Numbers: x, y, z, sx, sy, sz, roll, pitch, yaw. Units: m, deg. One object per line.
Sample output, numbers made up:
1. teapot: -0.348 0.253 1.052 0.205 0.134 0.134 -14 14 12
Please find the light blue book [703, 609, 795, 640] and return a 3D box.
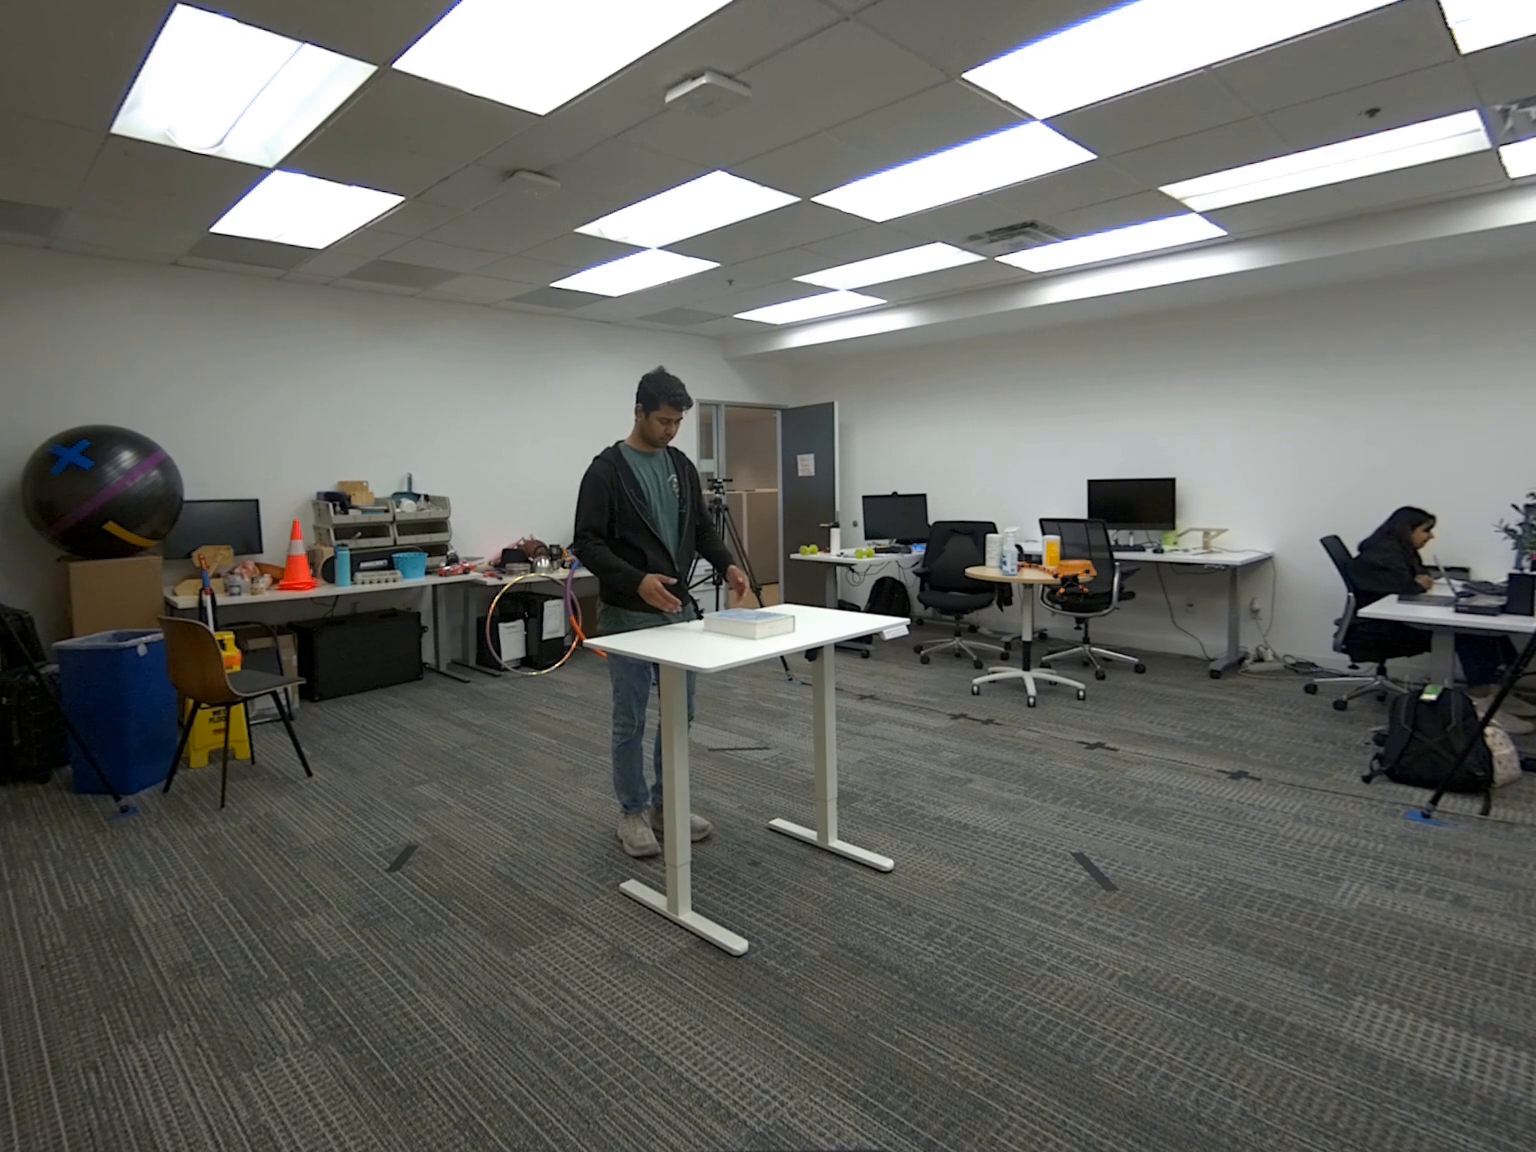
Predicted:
1. light blue book: -0.063 0.161 2.887 0.186 0.059 0.269 -7 8 -44
